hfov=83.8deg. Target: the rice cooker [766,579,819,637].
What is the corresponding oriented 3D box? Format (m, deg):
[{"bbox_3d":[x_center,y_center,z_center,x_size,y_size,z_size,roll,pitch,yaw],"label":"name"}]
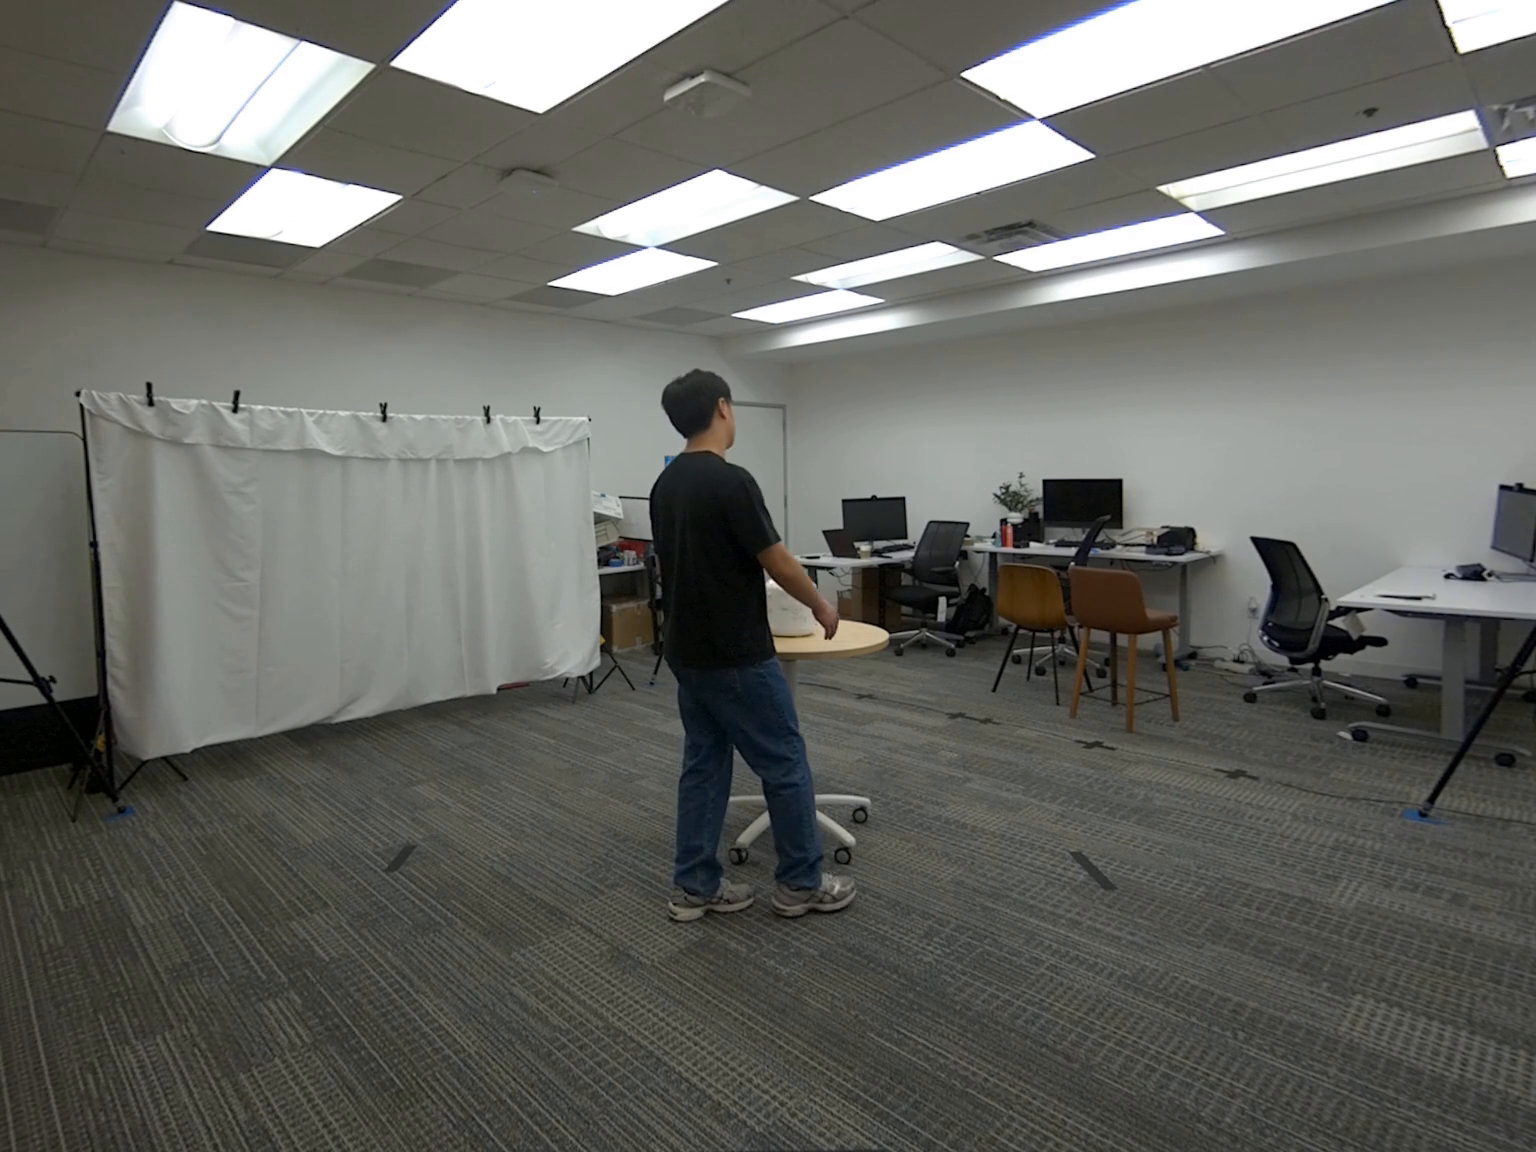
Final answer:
[{"bbox_3d":[0.088,0.107,3.291,0.220,0.232,0.218,0,4,13],"label":"rice cooker"}]
